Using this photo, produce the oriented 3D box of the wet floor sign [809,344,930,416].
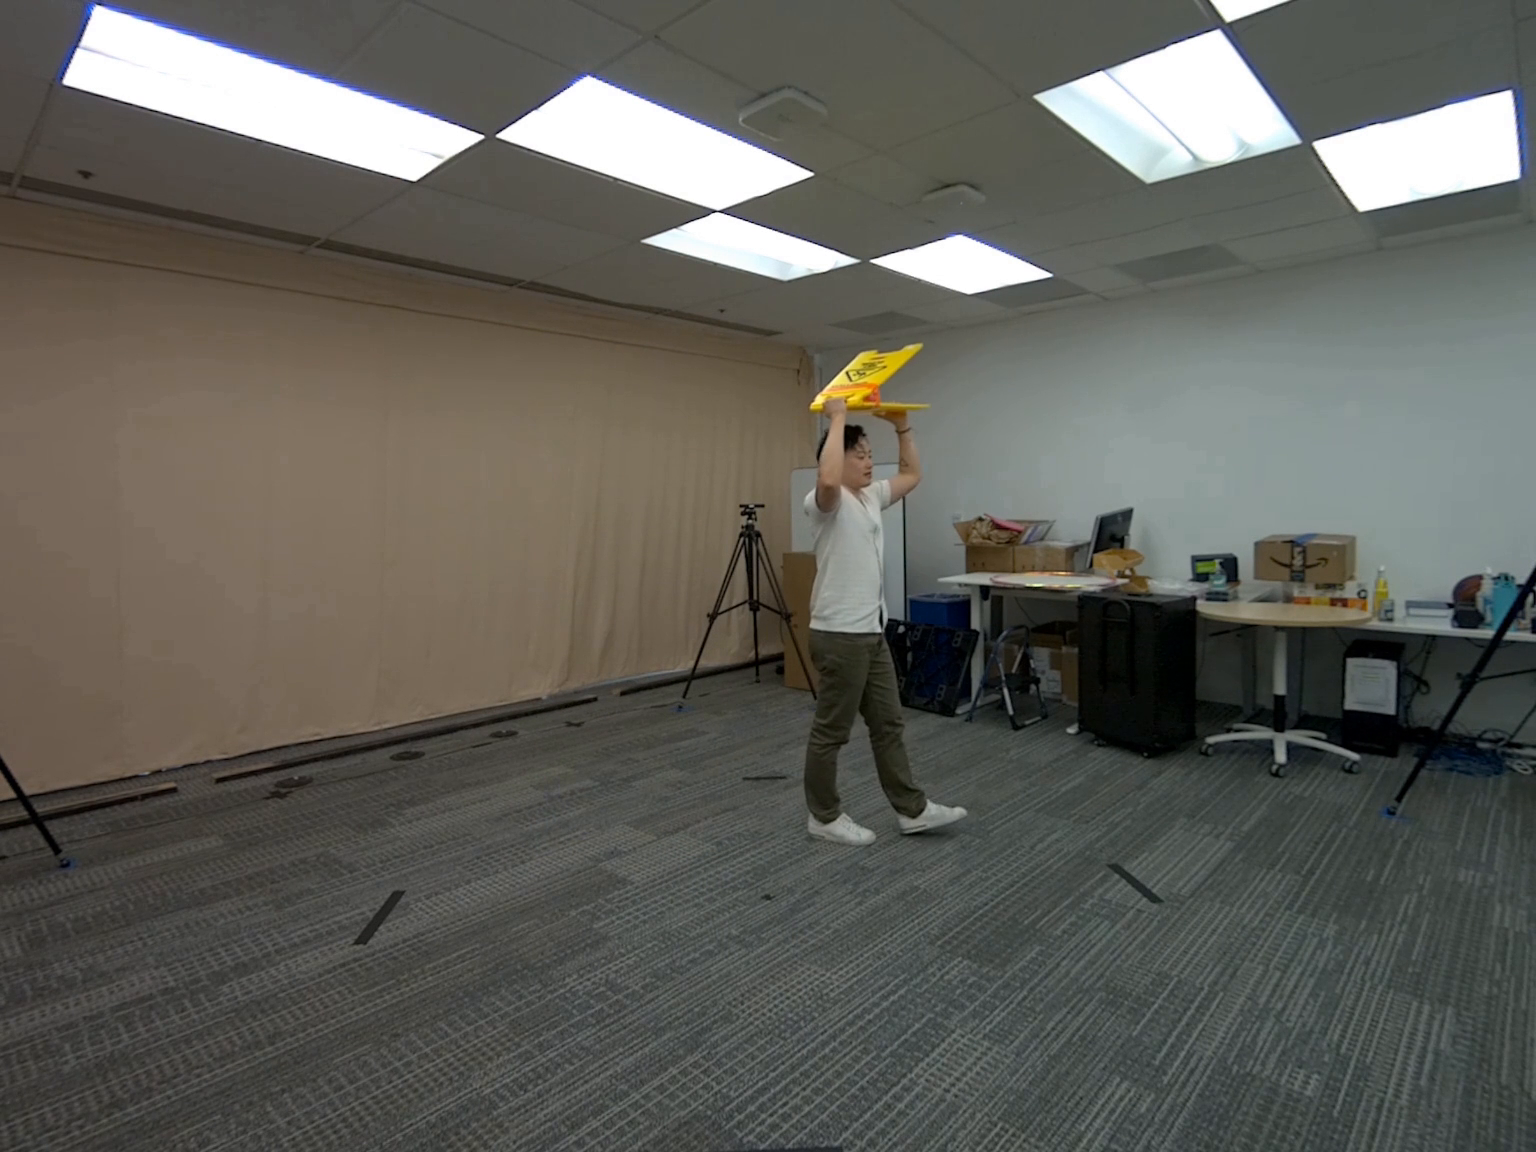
[{"bbox_3d":[0.399,-0.729,3.360,0.291,0.286,0.635,0,20,33],"label":"wet floor sign"}]
